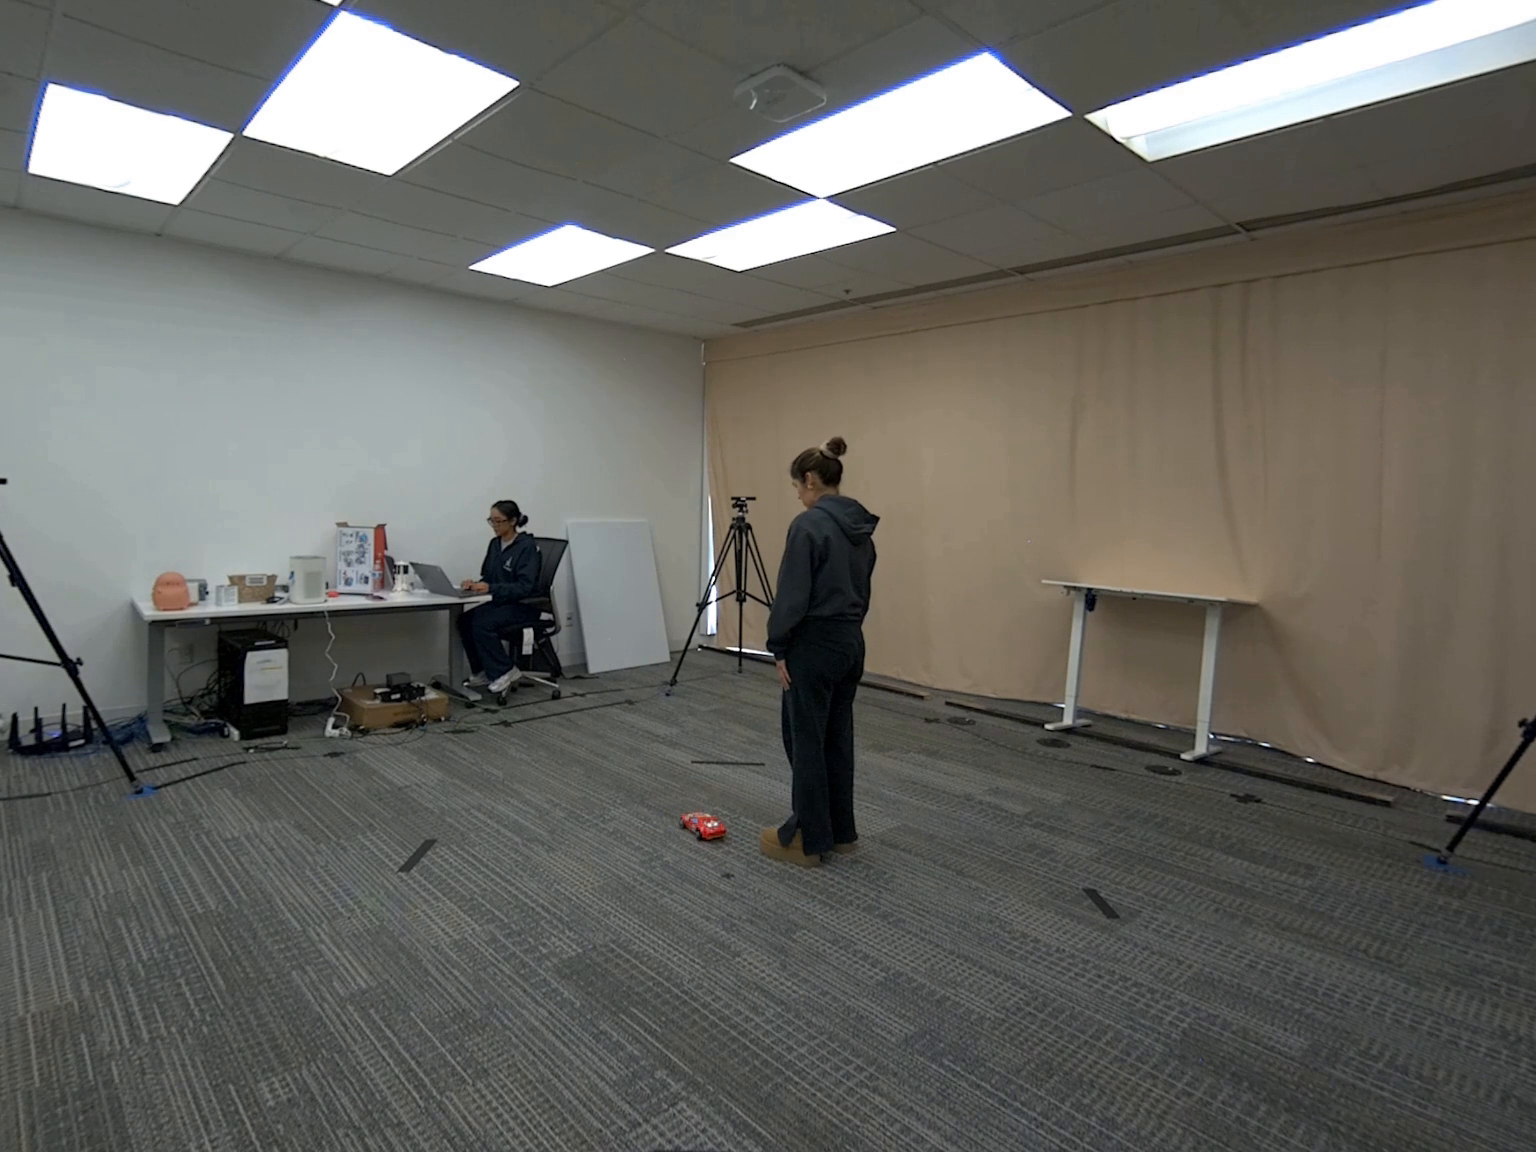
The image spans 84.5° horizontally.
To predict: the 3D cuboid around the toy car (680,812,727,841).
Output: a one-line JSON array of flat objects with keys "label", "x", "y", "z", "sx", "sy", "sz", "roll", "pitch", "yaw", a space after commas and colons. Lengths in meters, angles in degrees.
[{"label": "toy car", "x": -0.274, "y": 1.029, "z": 3.509, "sx": 0.127, "sy": 0.083, "sz": 0.259, "roll": -1, "pitch": -5, "yaw": -33}]
